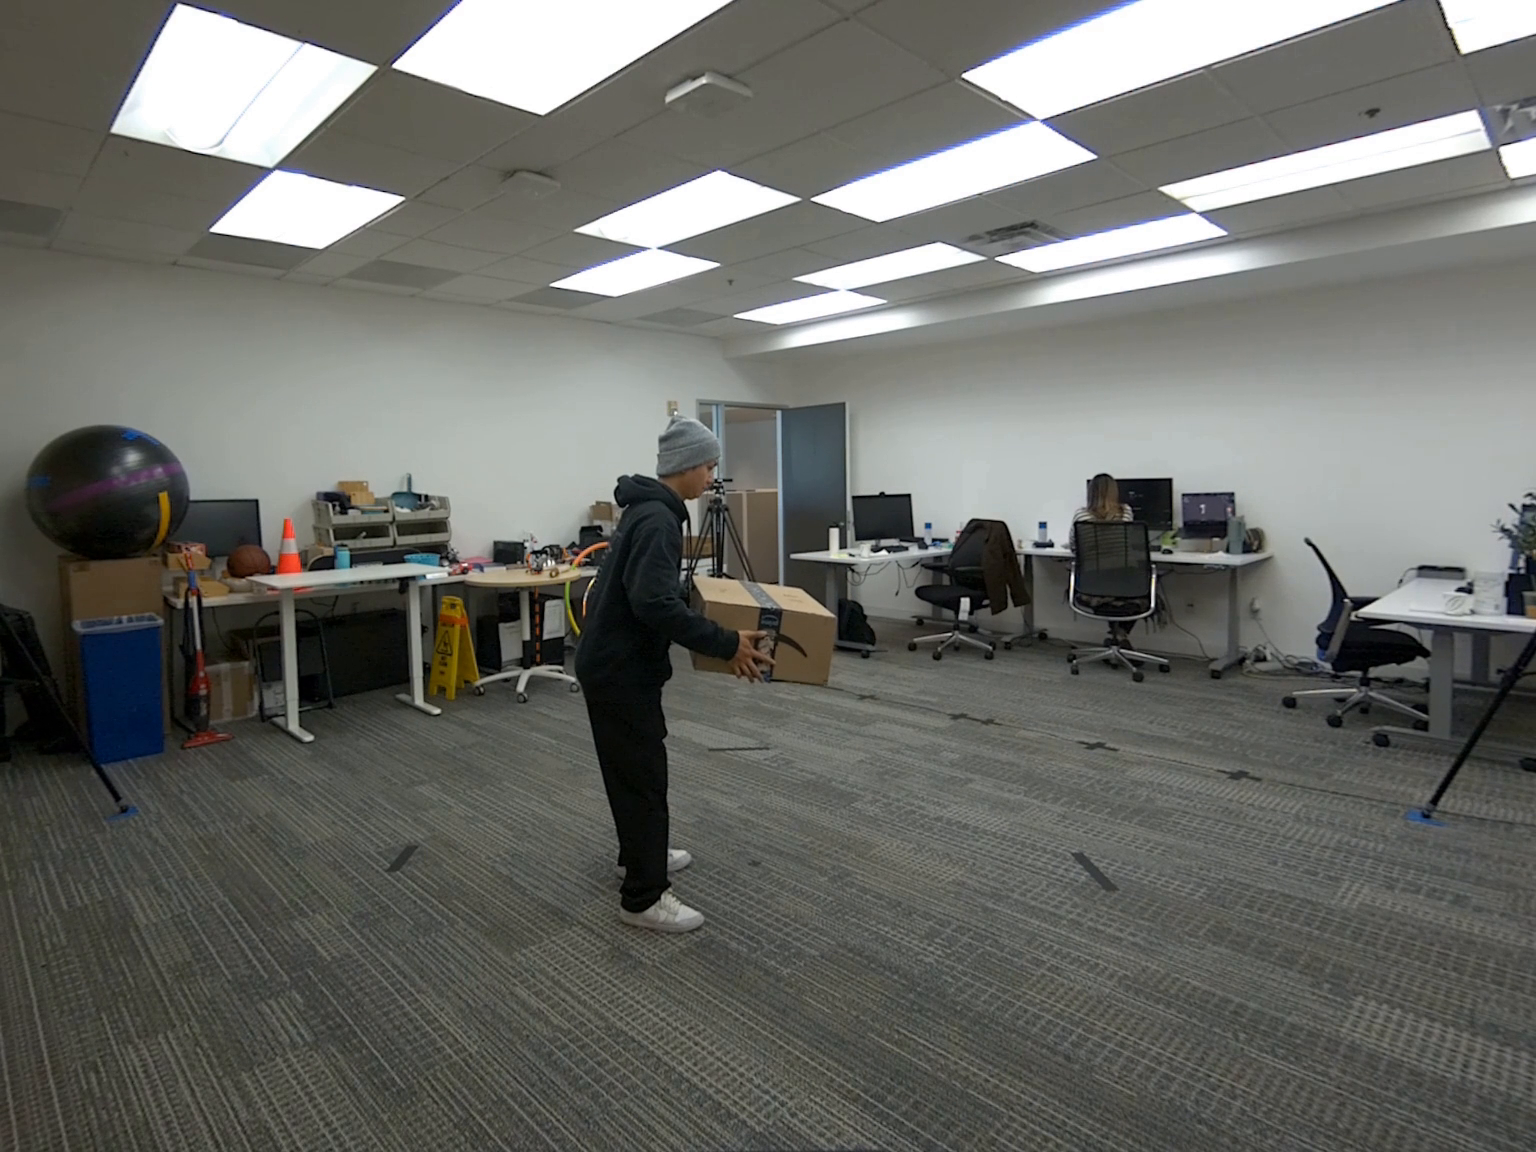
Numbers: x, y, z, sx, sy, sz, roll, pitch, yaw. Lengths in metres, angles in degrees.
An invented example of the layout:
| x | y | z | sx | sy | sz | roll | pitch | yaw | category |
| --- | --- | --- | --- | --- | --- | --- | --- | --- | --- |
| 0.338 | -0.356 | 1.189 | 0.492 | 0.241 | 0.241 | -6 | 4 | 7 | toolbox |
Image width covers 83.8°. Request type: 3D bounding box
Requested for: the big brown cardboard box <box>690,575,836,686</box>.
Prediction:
| x | y | z | sx | sy | sz | roll | pitch | yaw | category |
| --- | --- | --- | --- | --- | --- | --- | --- | --- | --- |
| -0.052 | 0.169 | 2.857 | 0.414 | 0.232 | 0.596 | 8 | 7 | -8 | big brown cardboard box |
